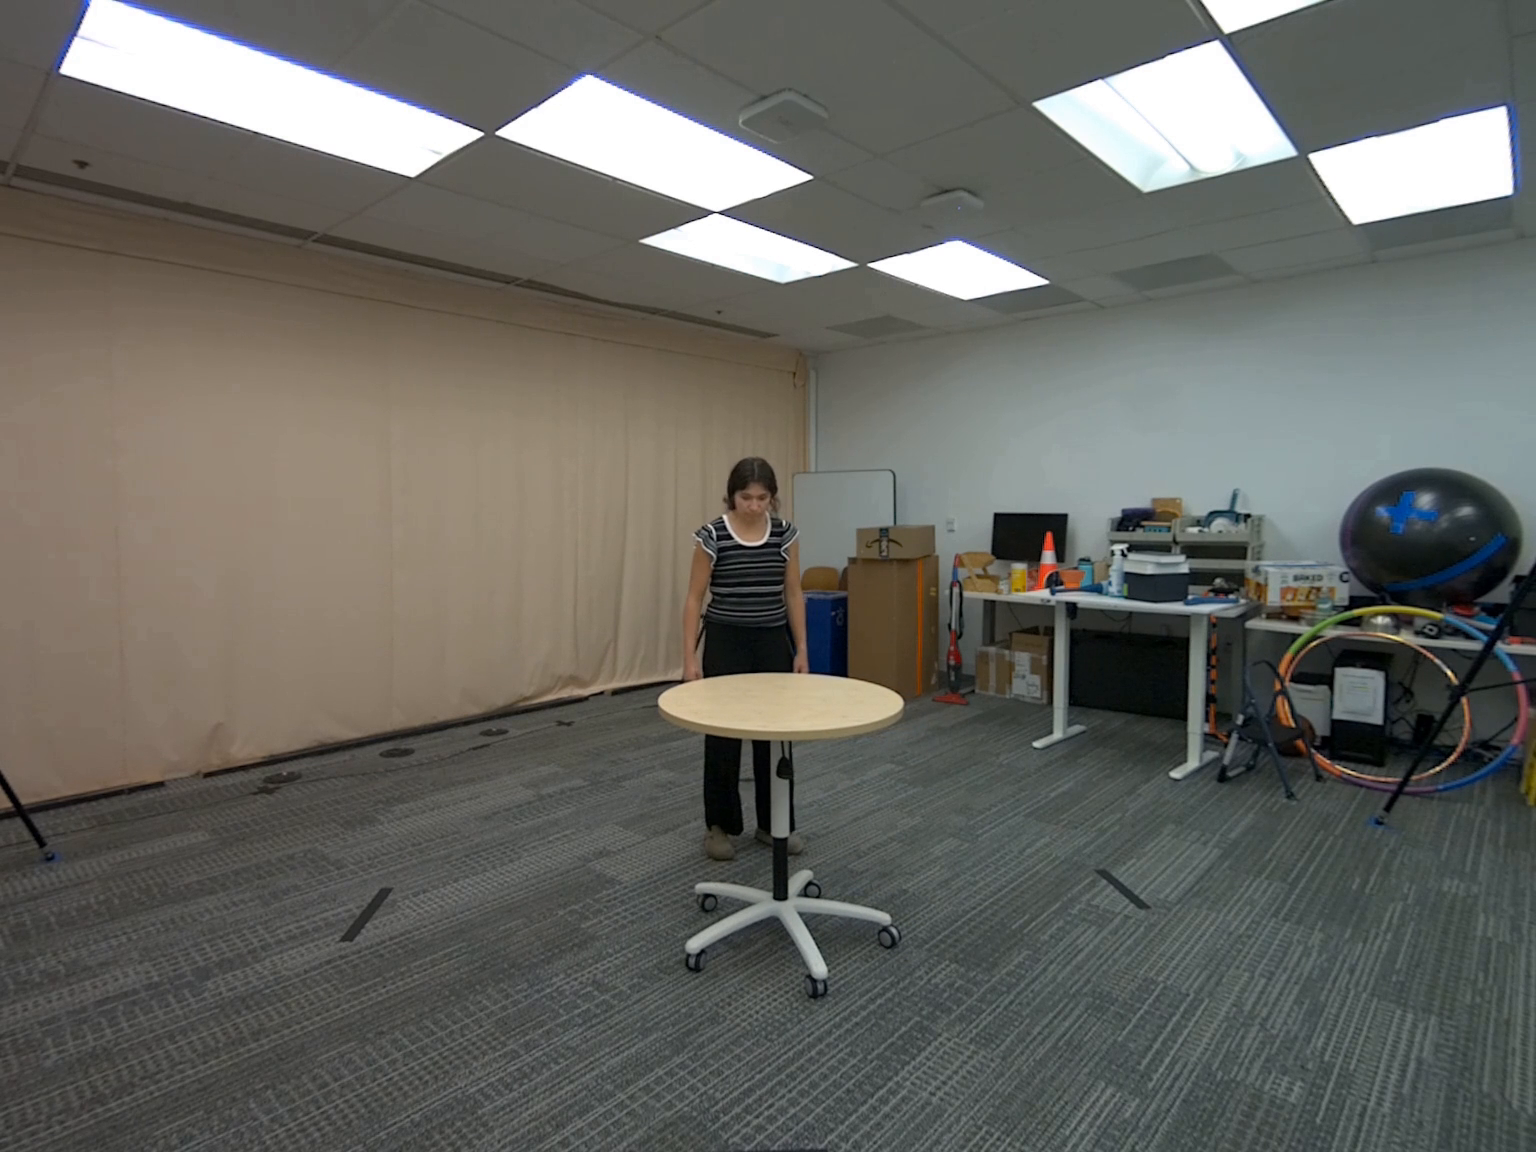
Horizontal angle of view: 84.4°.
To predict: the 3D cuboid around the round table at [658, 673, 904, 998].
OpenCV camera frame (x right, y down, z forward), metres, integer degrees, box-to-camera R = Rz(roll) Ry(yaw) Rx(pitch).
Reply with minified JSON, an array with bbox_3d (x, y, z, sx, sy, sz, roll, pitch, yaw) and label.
[{"bbox_3d":[0.051,0.770,2.690,0.784,0.784,0.788,0,4,-2],"label":"round table"}]
